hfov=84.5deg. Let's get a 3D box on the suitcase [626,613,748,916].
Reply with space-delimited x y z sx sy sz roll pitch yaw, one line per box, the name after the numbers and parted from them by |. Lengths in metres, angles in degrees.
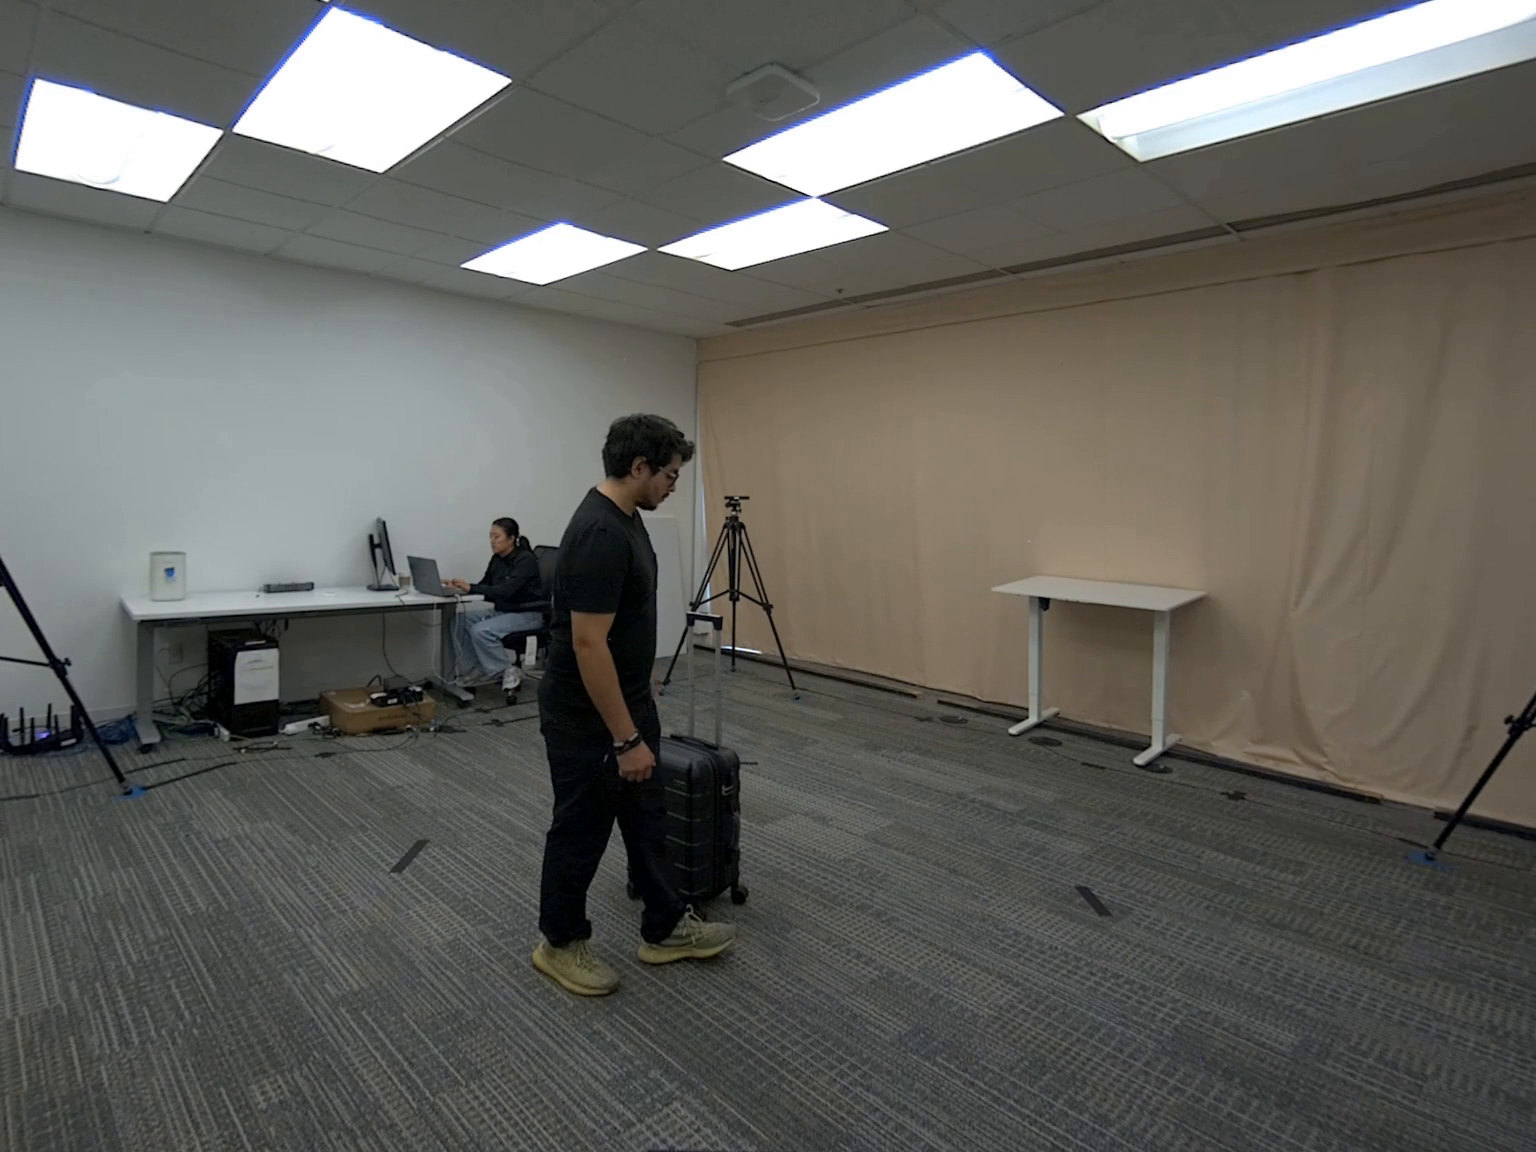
-0.290 0.642 2.889 0.393 0.975 0.251 3 6 42 | suitcase
